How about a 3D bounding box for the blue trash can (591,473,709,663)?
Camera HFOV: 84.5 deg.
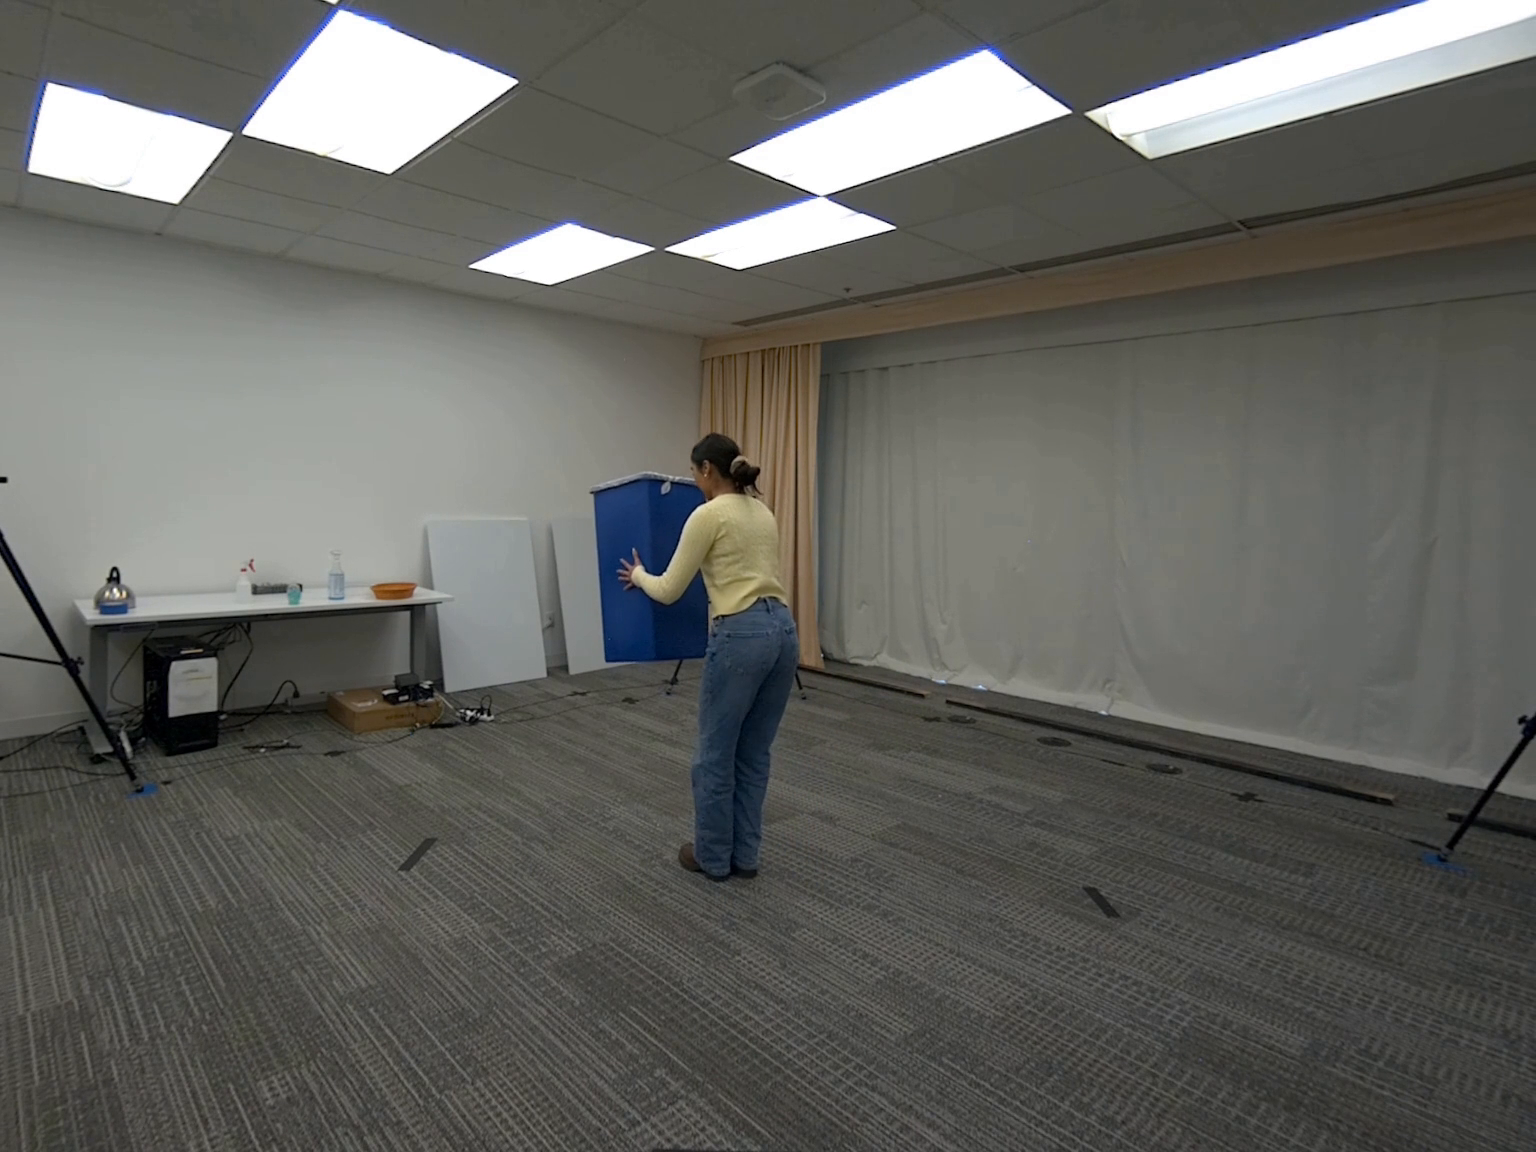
[{"bbox_3d":[-0.473,-0.014,3.400,0.381,0.717,0.368,-8,-9,41],"label":"blue trash can"}]
